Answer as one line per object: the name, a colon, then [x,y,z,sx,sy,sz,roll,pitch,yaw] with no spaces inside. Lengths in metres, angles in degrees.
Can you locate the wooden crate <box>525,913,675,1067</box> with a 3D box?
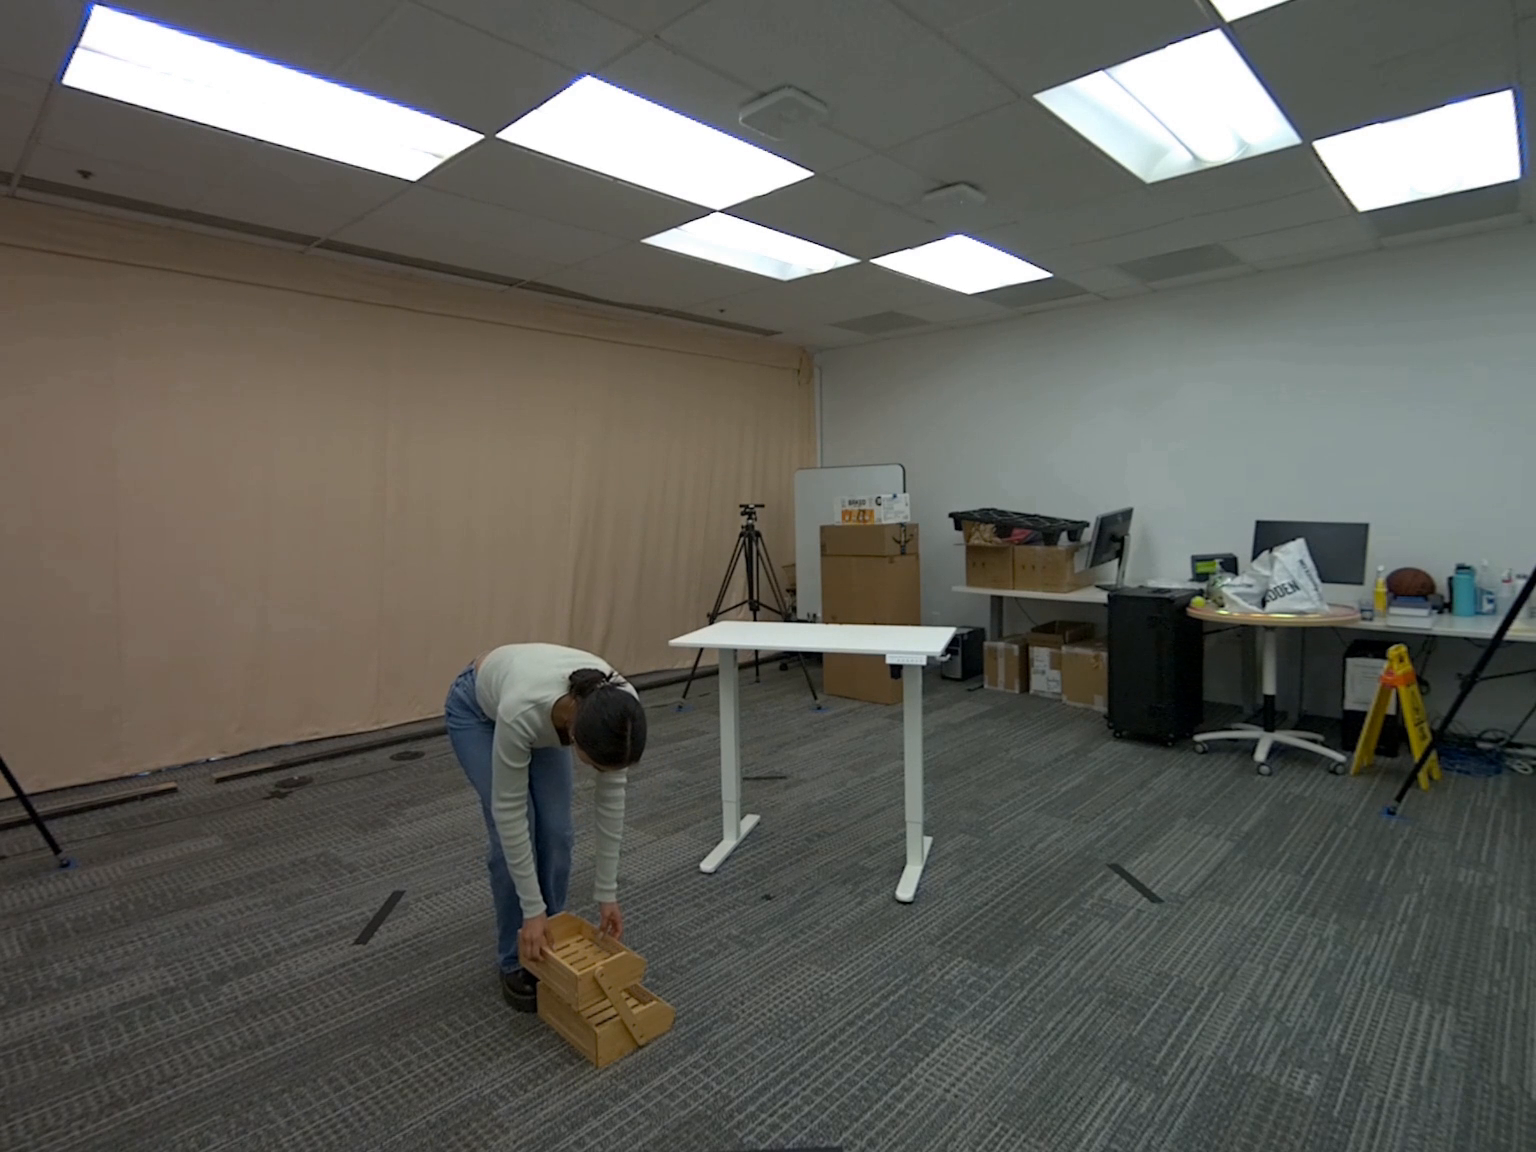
wooden crate: [-0.455,1.076,2.258,0.293,0.272,0.335,-6,6,-43]
